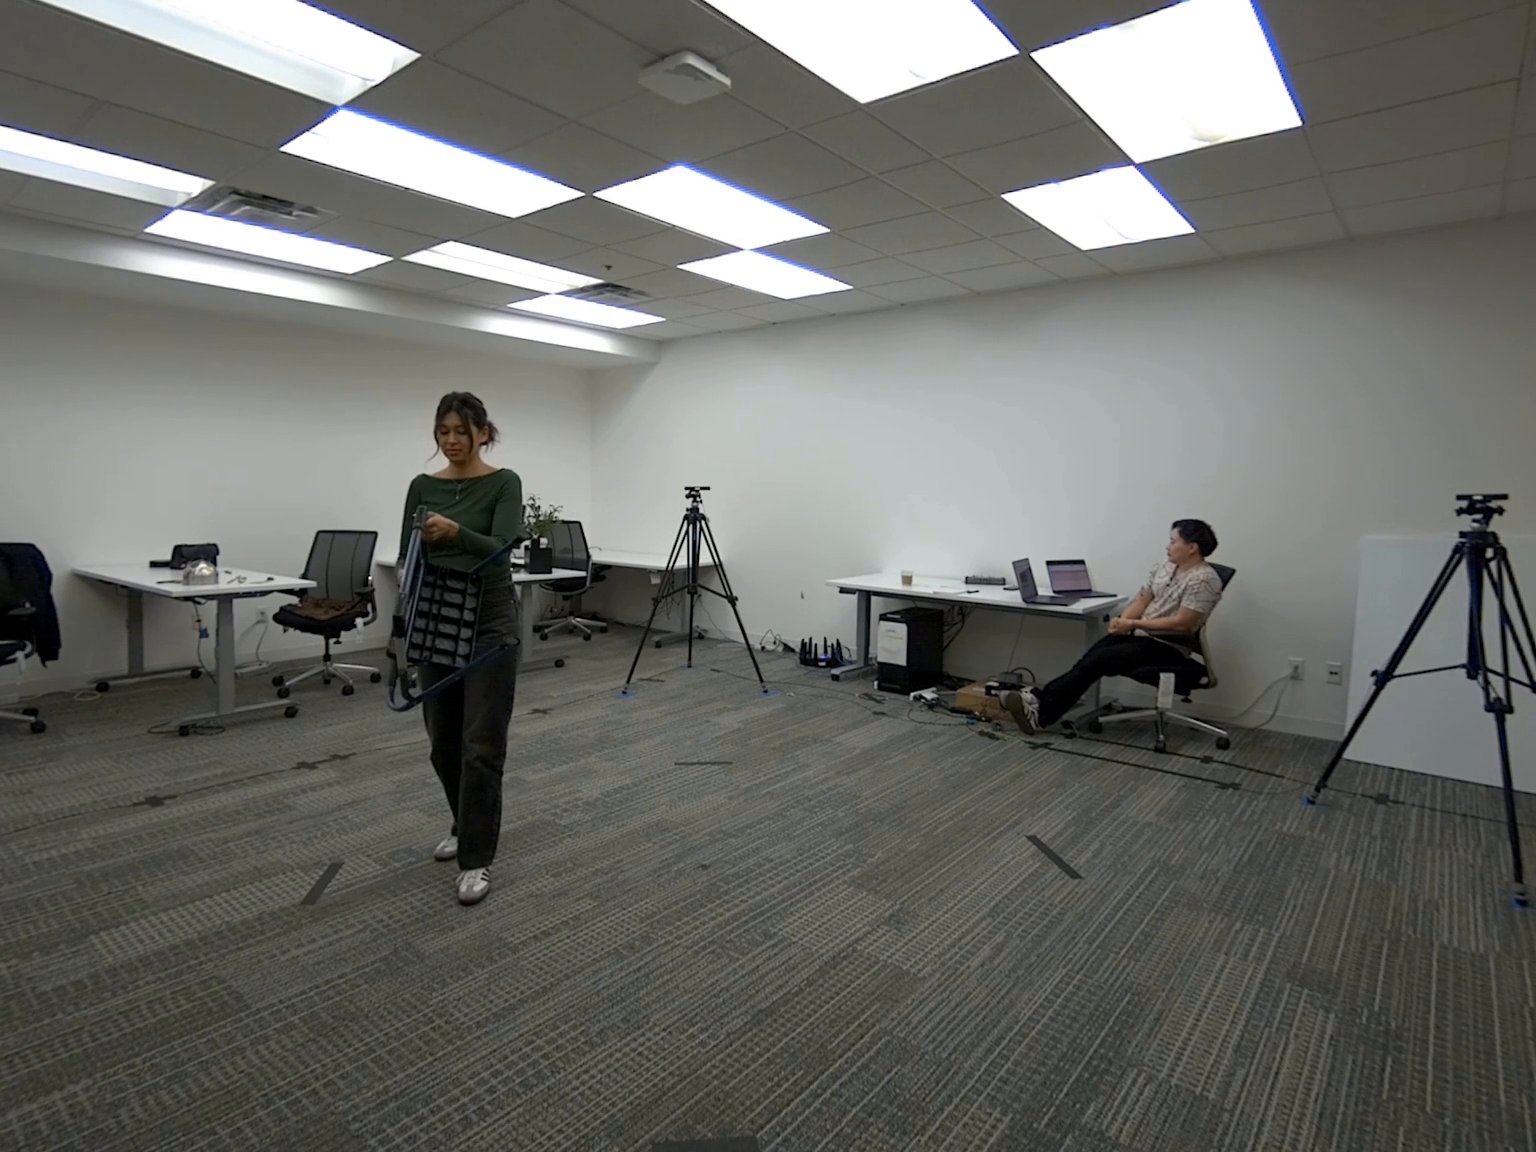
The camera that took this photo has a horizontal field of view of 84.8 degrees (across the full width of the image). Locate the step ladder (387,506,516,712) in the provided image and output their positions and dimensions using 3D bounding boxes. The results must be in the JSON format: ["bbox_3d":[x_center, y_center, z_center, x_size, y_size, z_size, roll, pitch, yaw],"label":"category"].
[{"bbox_3d":[-1.026,0.150,2.658,0.339,0.444,0.605,18,-45,-26],"label":"step ladder"}]
